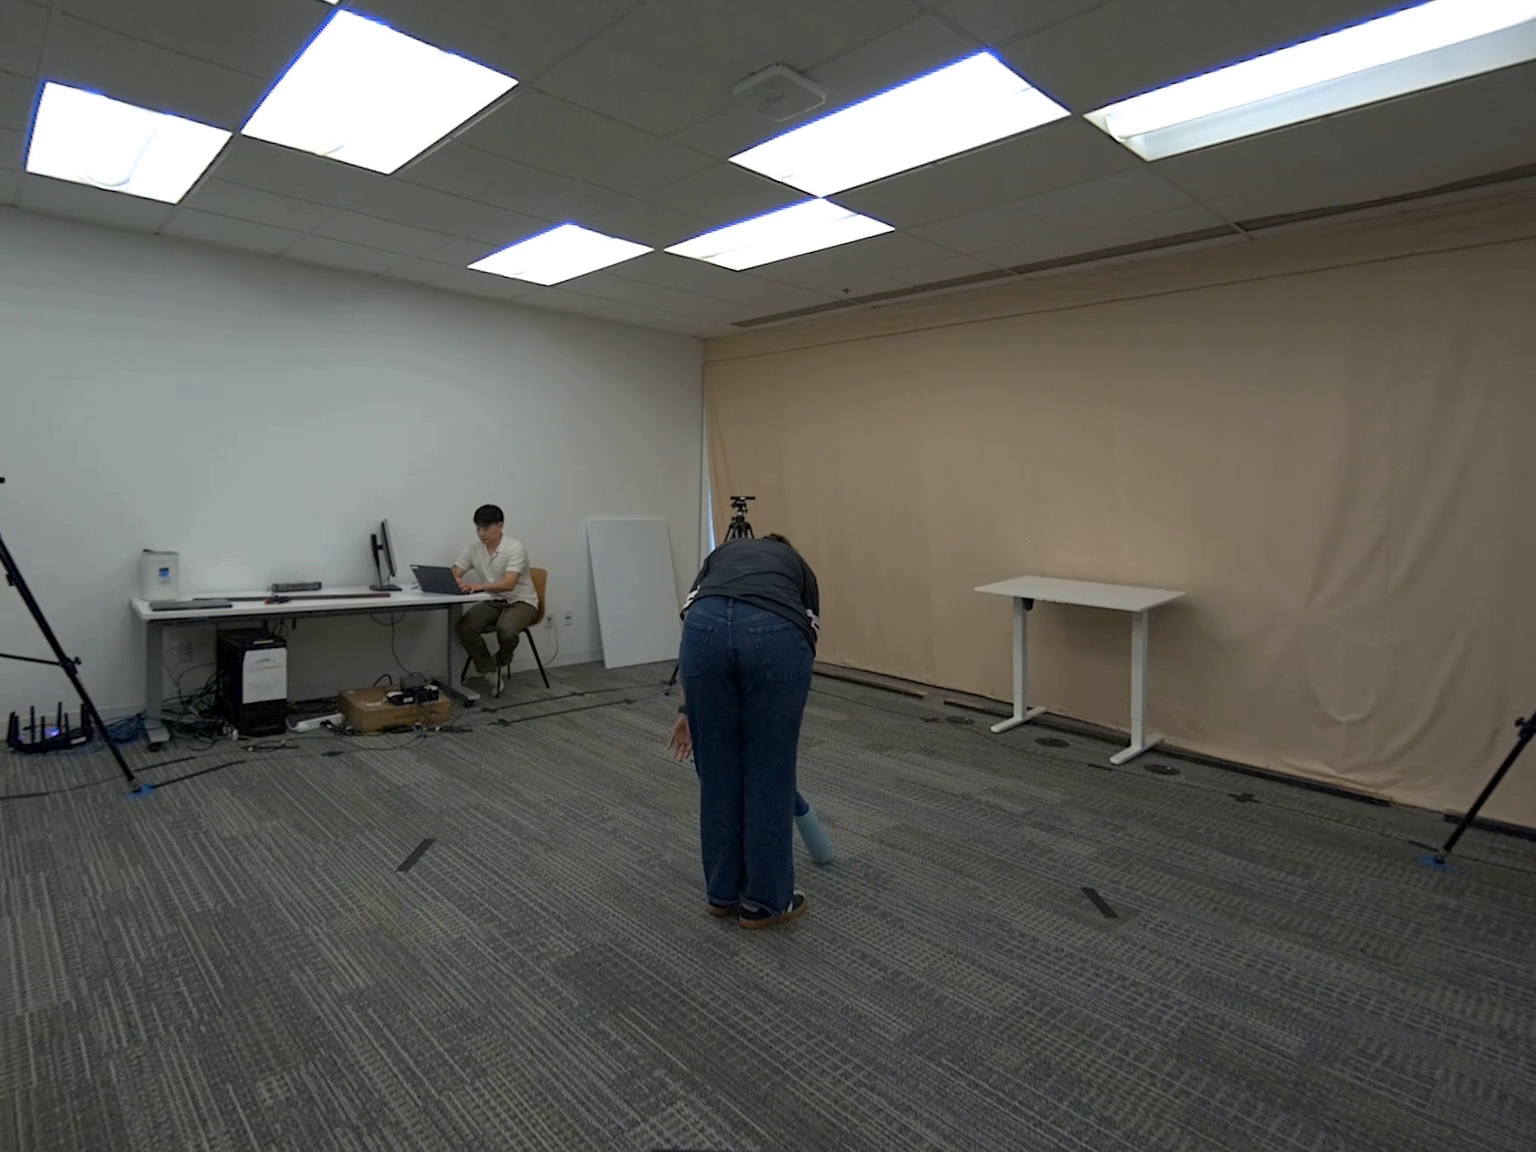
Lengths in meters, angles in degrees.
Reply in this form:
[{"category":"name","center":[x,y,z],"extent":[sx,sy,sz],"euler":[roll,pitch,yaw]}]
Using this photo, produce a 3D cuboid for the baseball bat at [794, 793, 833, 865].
[{"category":"baseball bat","center":[0.112,0.867,3.143],"extent":[0.089,0.532,0.090],"euler":[-21,22,8]}]
